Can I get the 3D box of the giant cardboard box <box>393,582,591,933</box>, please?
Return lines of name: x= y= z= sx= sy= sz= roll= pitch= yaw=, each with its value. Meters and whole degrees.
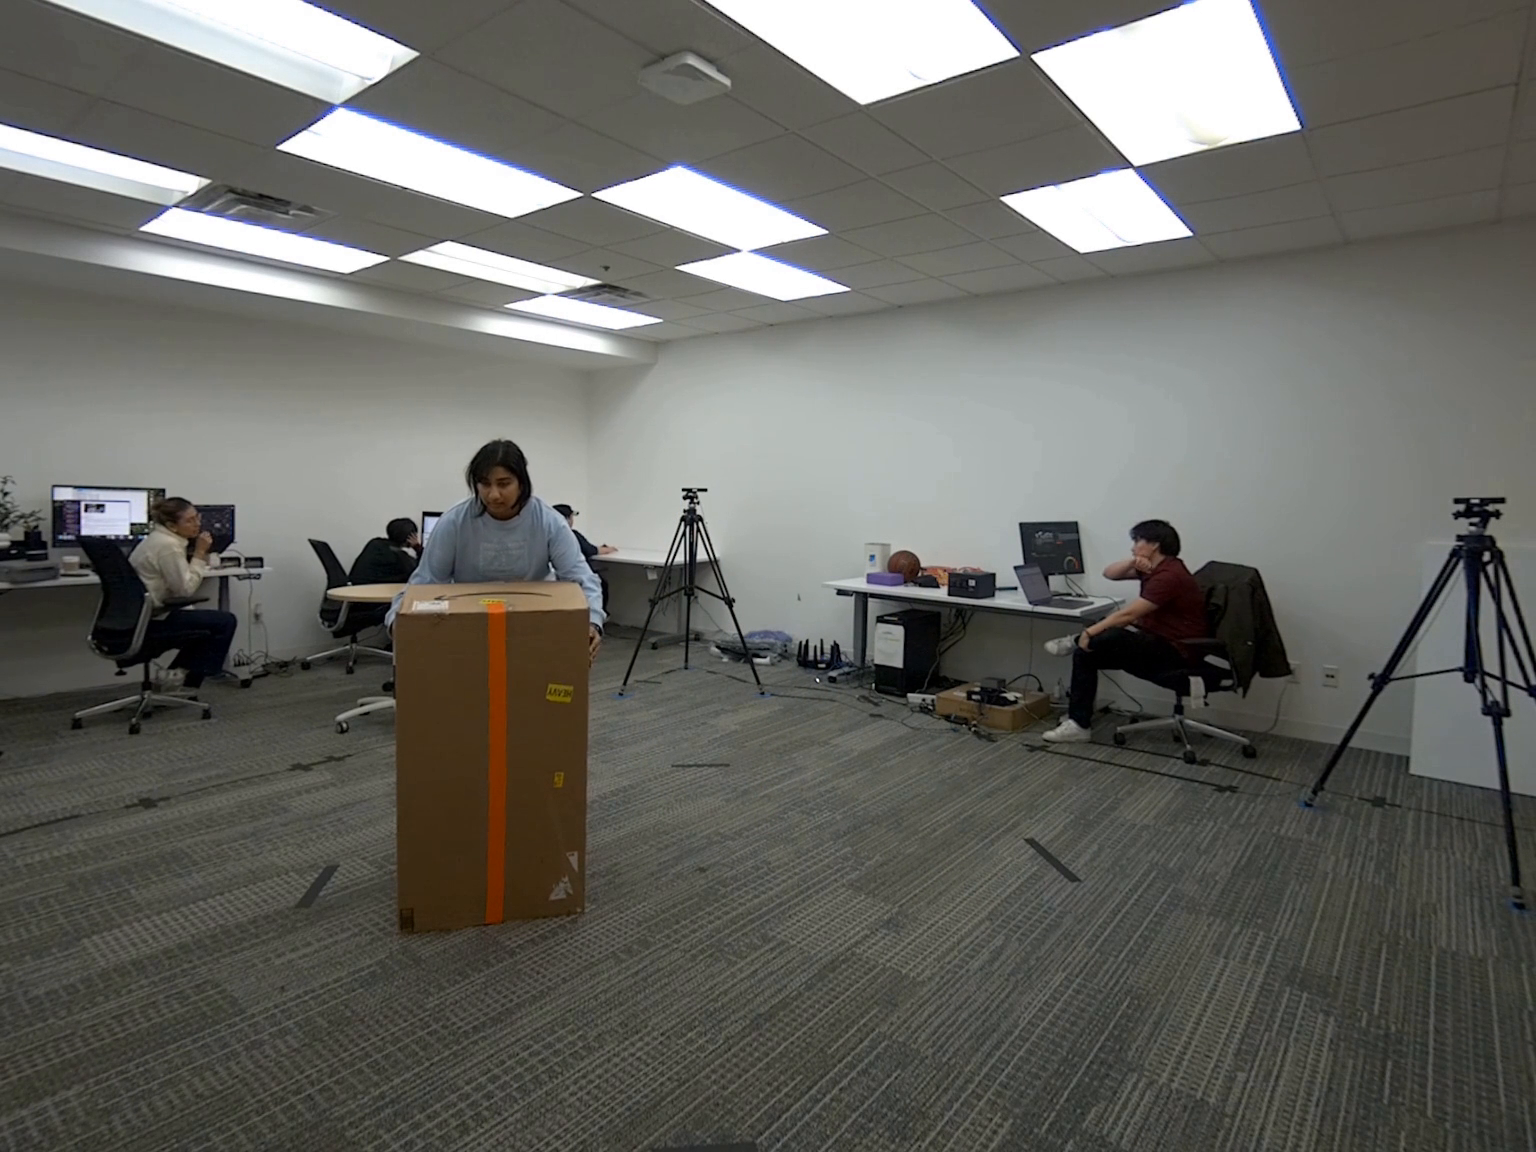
giant cardboard box: x=-0.923 y=0.565 z=2.824 sx=0.568 sy=1.018 sz=0.437 roll=-1 pitch=8 yaw=-17
